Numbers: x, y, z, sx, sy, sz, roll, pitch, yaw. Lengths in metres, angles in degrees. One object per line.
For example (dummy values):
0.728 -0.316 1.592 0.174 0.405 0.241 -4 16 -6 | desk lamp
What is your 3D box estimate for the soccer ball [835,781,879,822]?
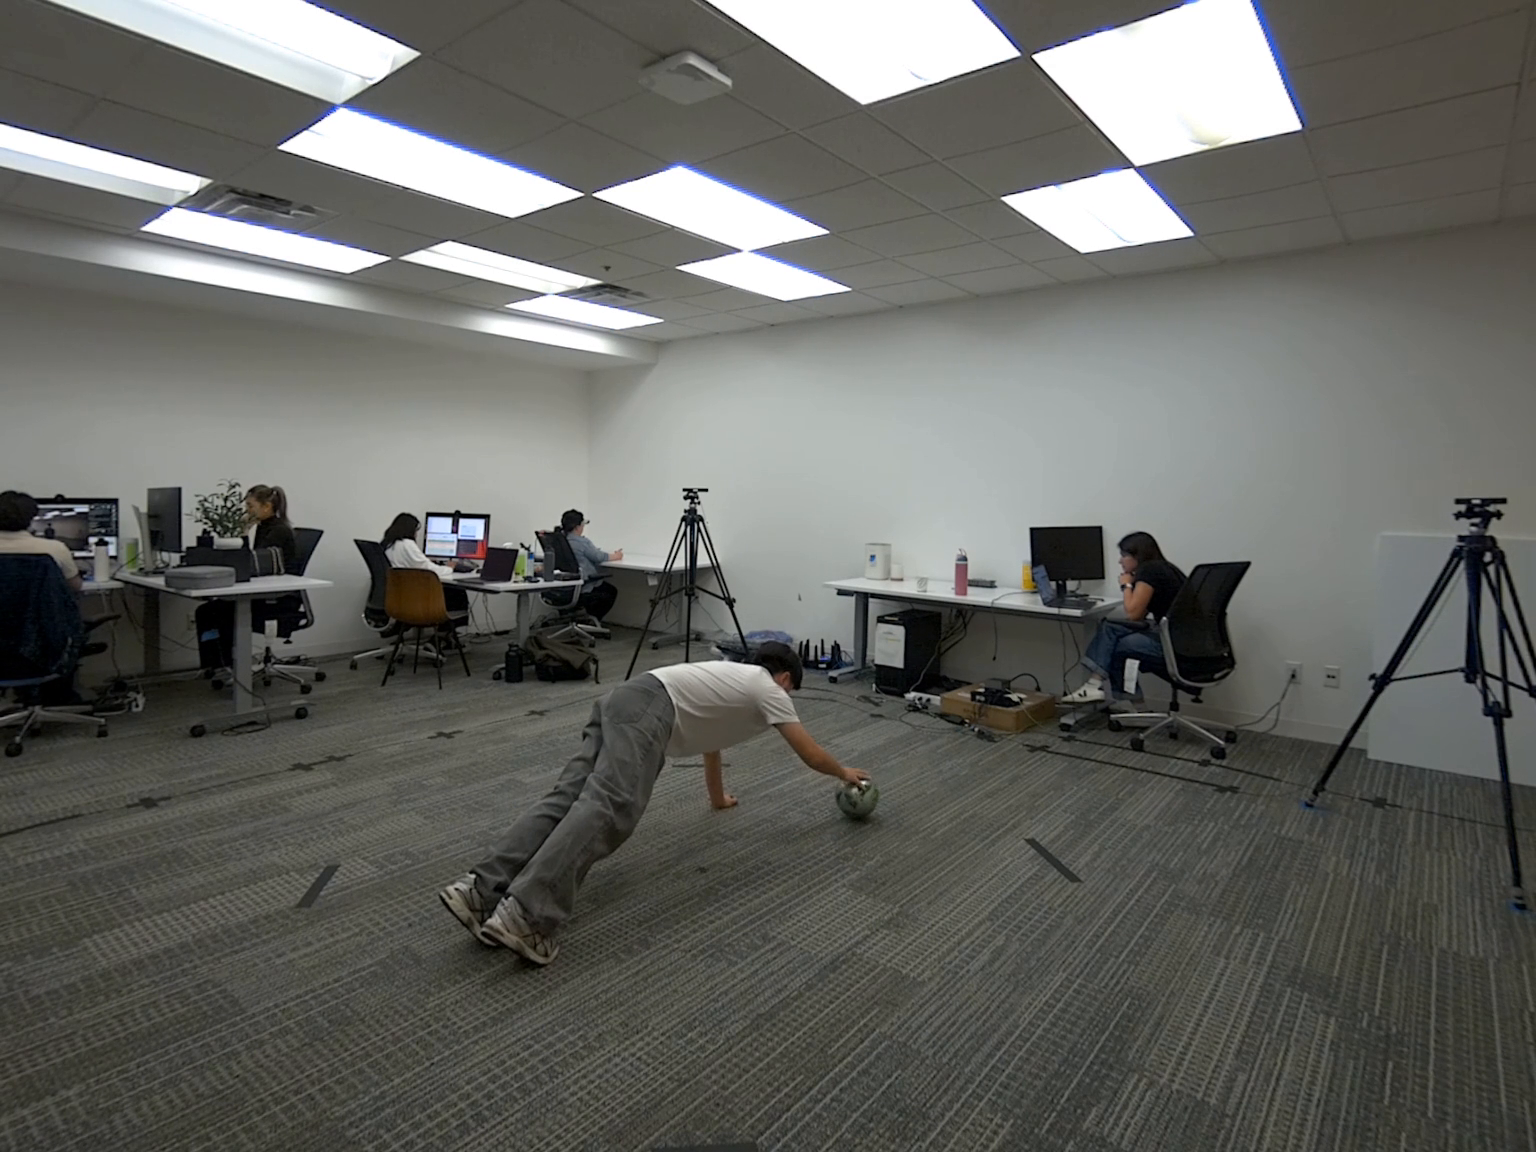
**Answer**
0.366 0.929 3.623 0.187 0.187 0.188 1 4 -2 | soccer ball
